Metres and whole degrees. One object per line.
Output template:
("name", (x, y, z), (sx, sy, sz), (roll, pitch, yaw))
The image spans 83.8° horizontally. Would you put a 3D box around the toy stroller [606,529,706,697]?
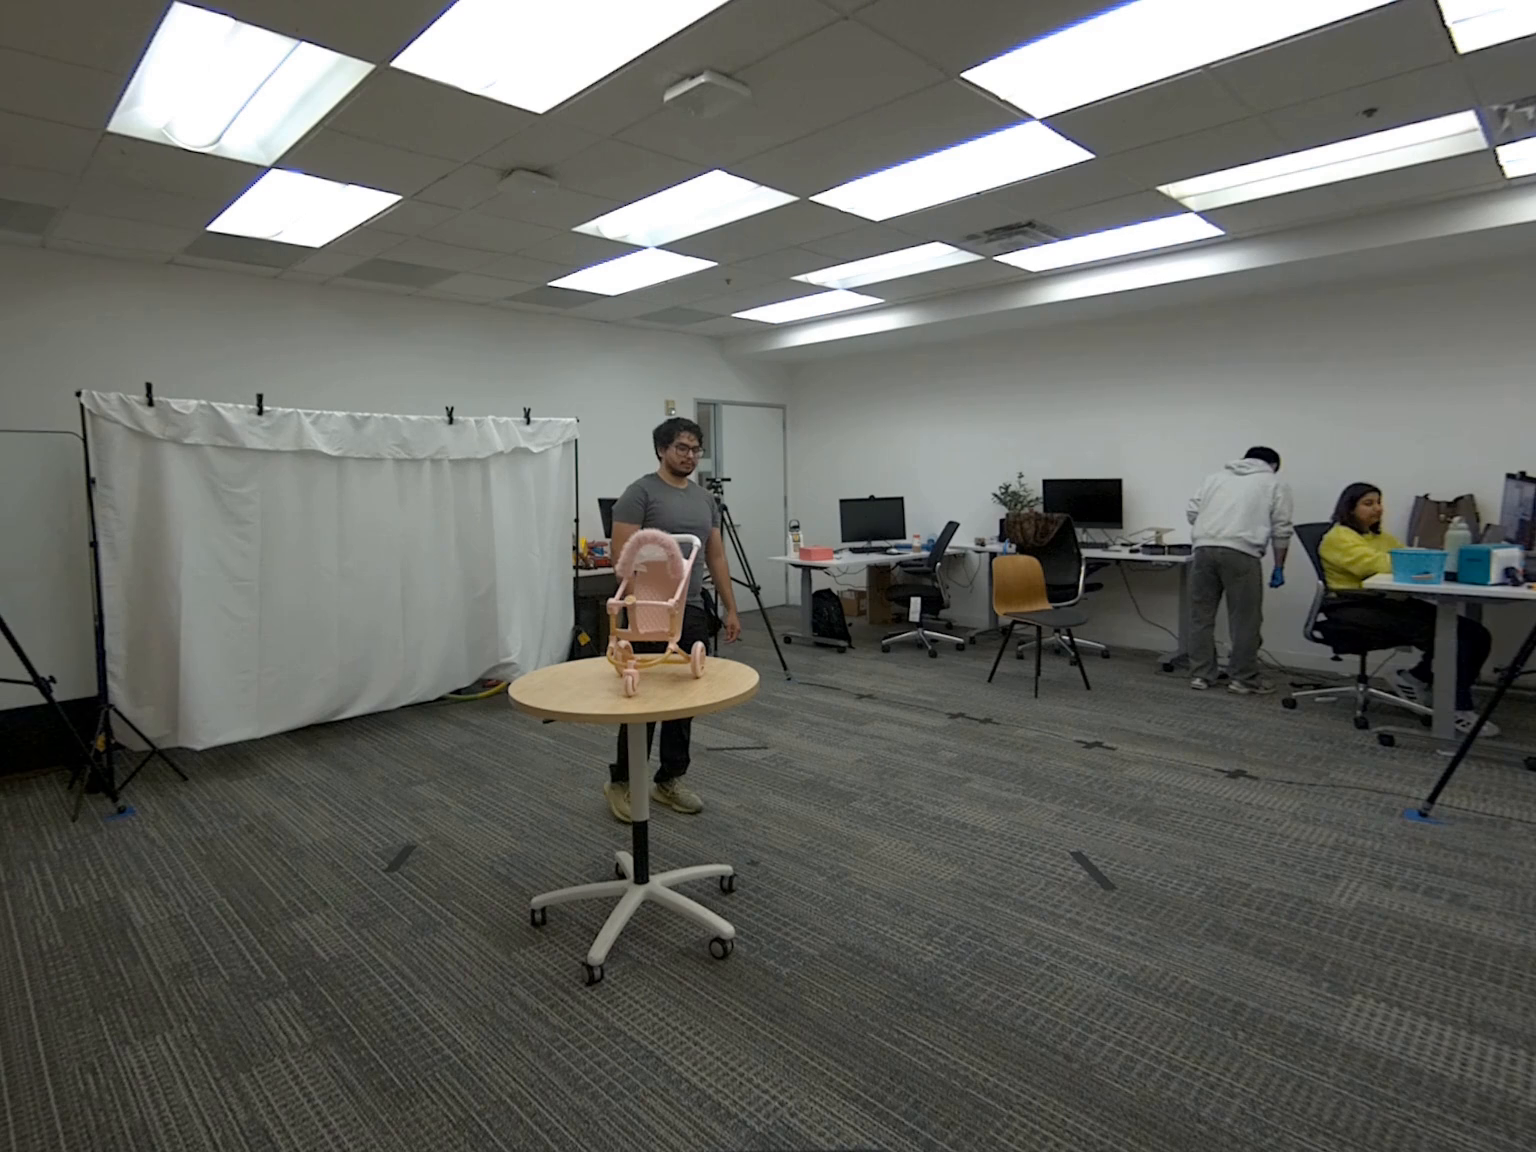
("toy stroller", (-0.364, 0.103, 2.603), (0.286, 0.540, 0.332), (0, -11, 16))
